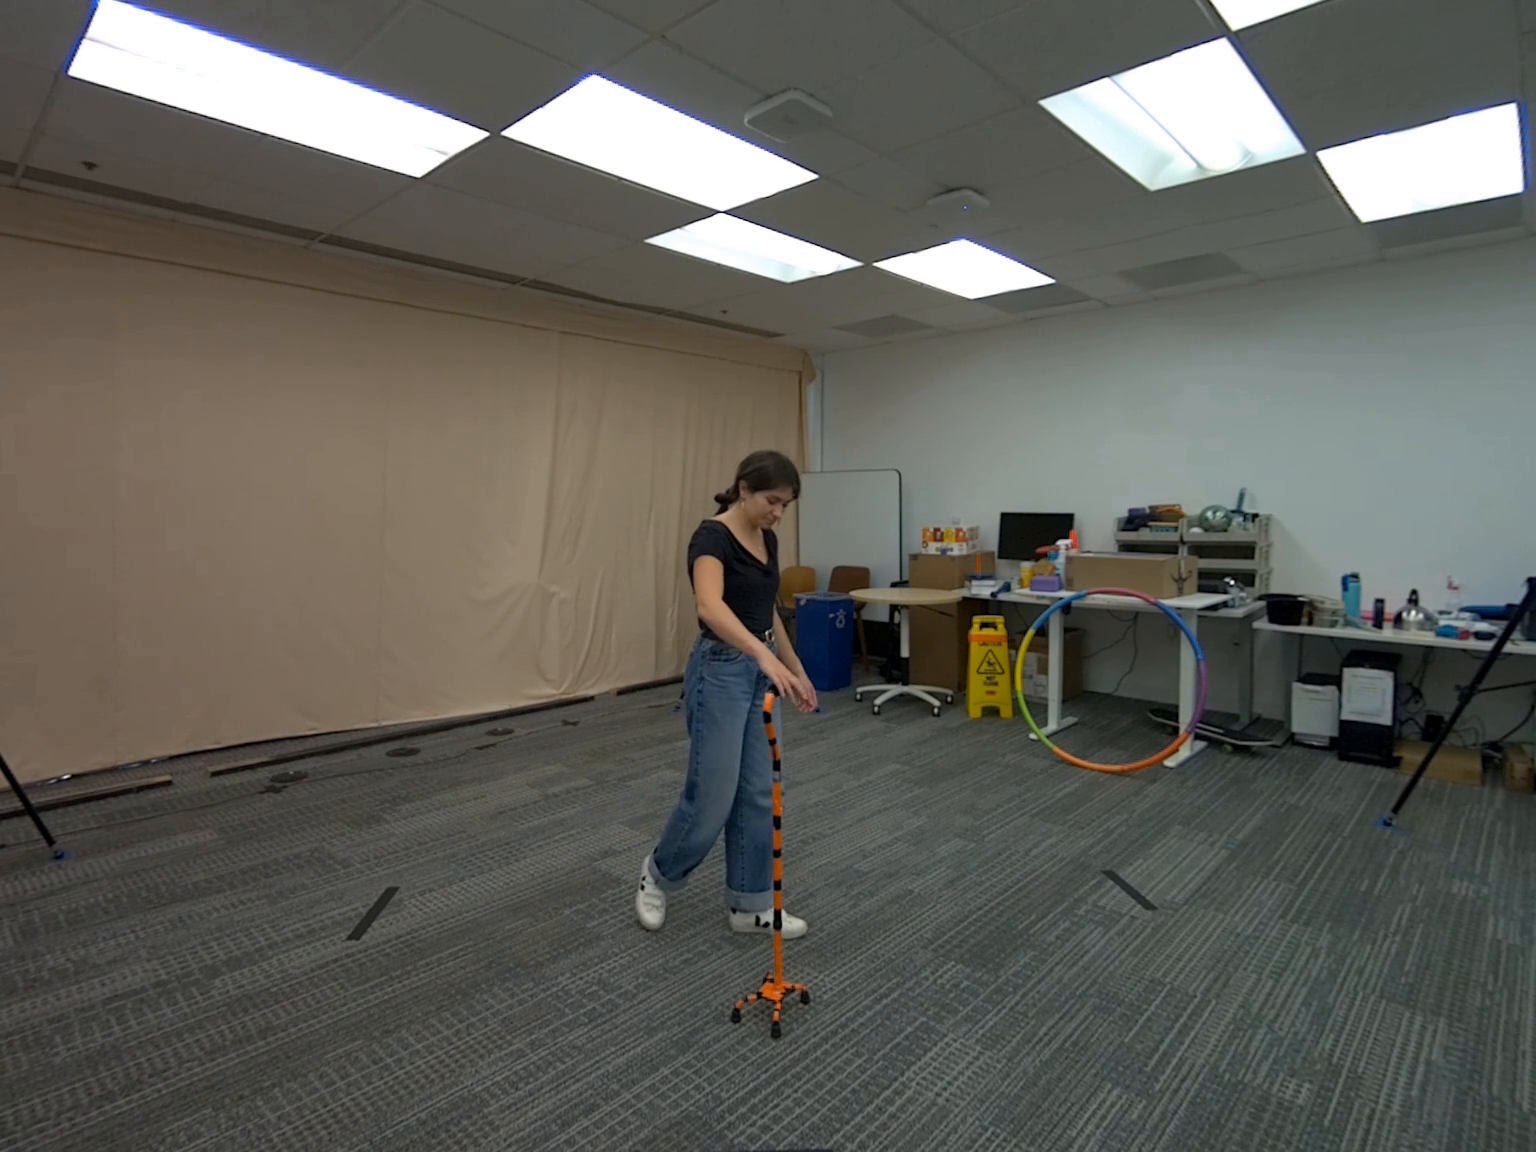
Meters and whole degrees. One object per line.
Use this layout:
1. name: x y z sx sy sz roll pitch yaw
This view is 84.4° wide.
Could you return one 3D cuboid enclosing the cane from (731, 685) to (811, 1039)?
1. cane: 0.015 0.741 2.299 0.155 0.906 0.201 2 3 26
